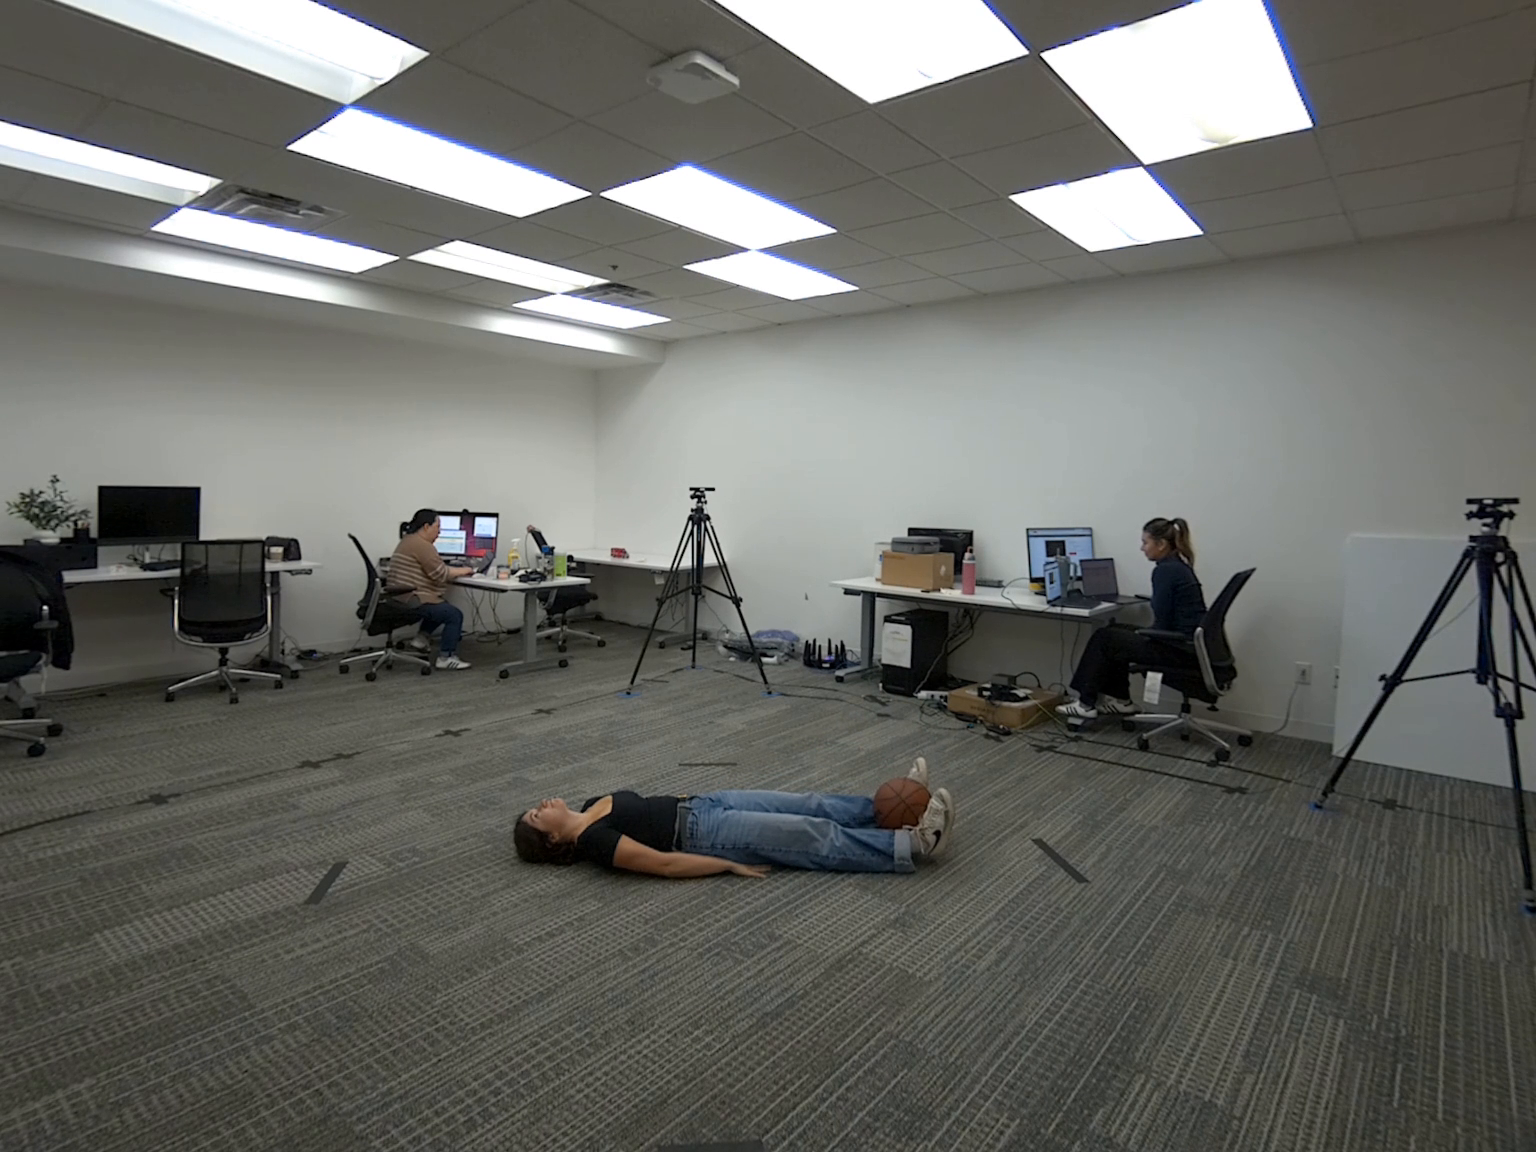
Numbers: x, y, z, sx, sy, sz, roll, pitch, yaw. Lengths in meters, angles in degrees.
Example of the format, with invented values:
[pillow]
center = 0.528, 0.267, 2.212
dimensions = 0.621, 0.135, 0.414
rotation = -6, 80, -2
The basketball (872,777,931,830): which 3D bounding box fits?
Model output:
[basketball]
center = 0.520, 0.898, 3.312
dimensions = 0.235, 0.235, 0.237
rotation = 1, 4, -2
